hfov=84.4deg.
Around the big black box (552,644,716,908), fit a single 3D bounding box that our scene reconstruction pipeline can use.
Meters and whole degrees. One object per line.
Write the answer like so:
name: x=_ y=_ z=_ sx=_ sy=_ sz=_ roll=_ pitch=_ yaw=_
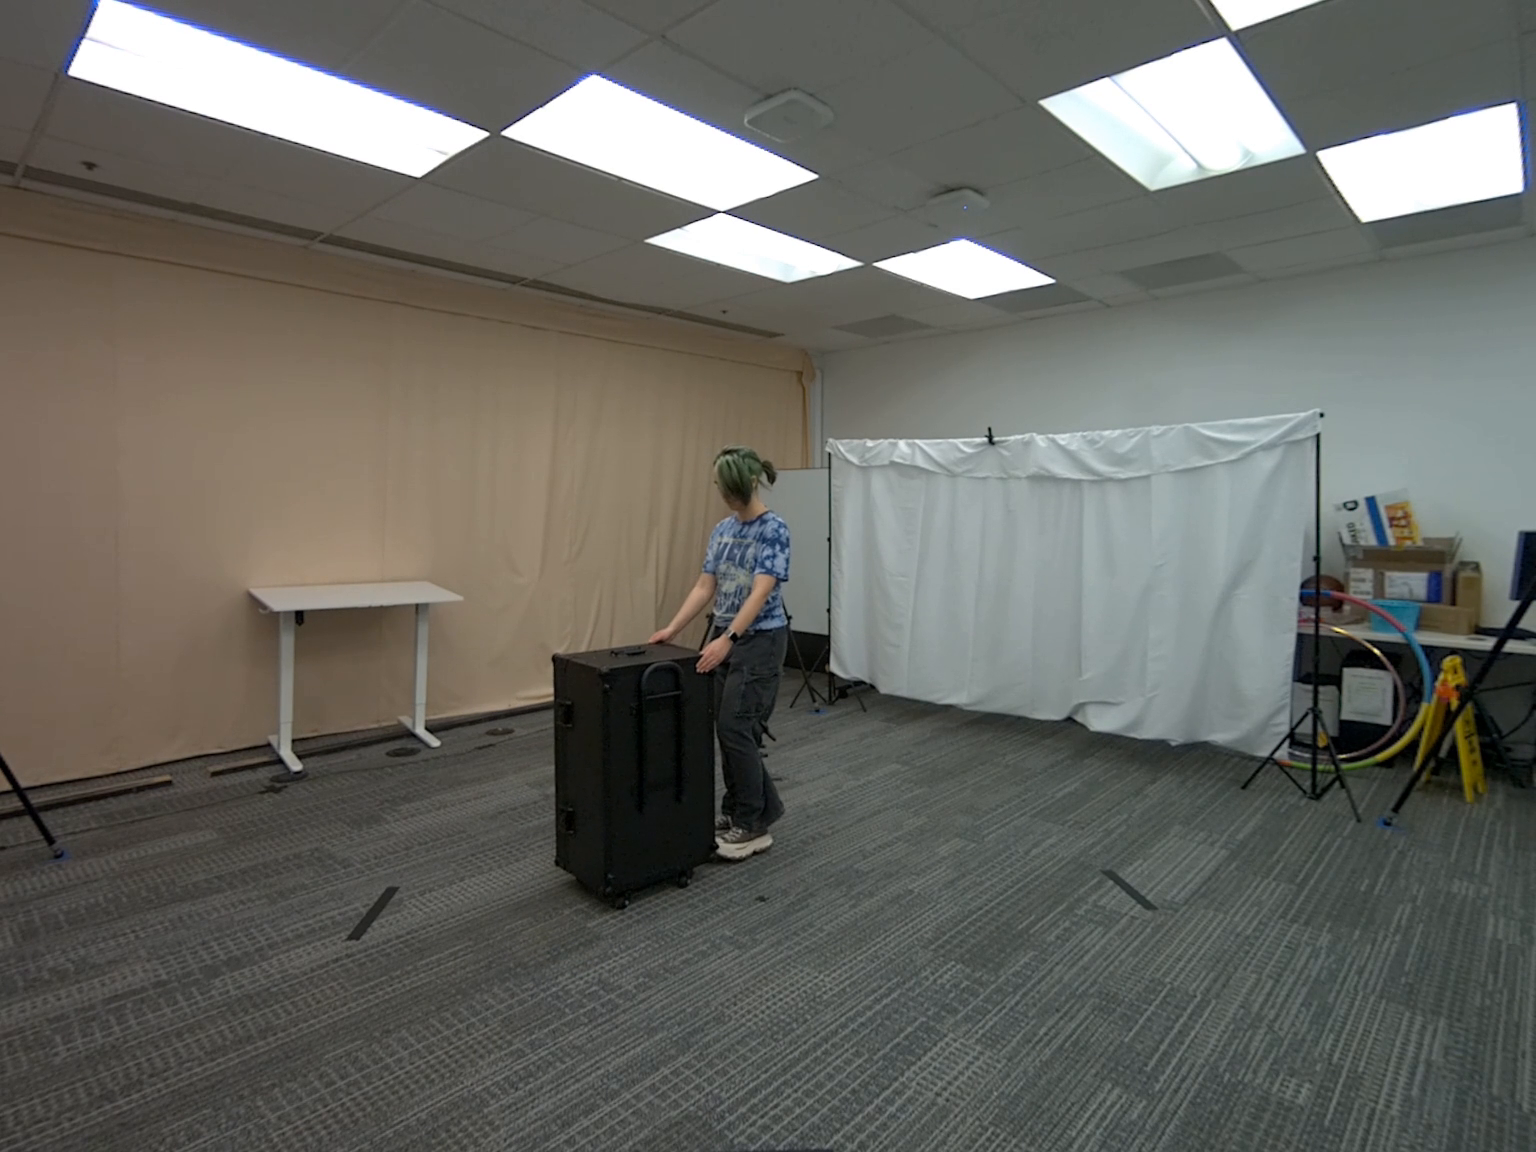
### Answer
big black box: x=-0.485 y=0.714 z=3.100 sx=0.505 sy=0.860 sz=0.409 roll=-2 pitch=4 yaw=-40
